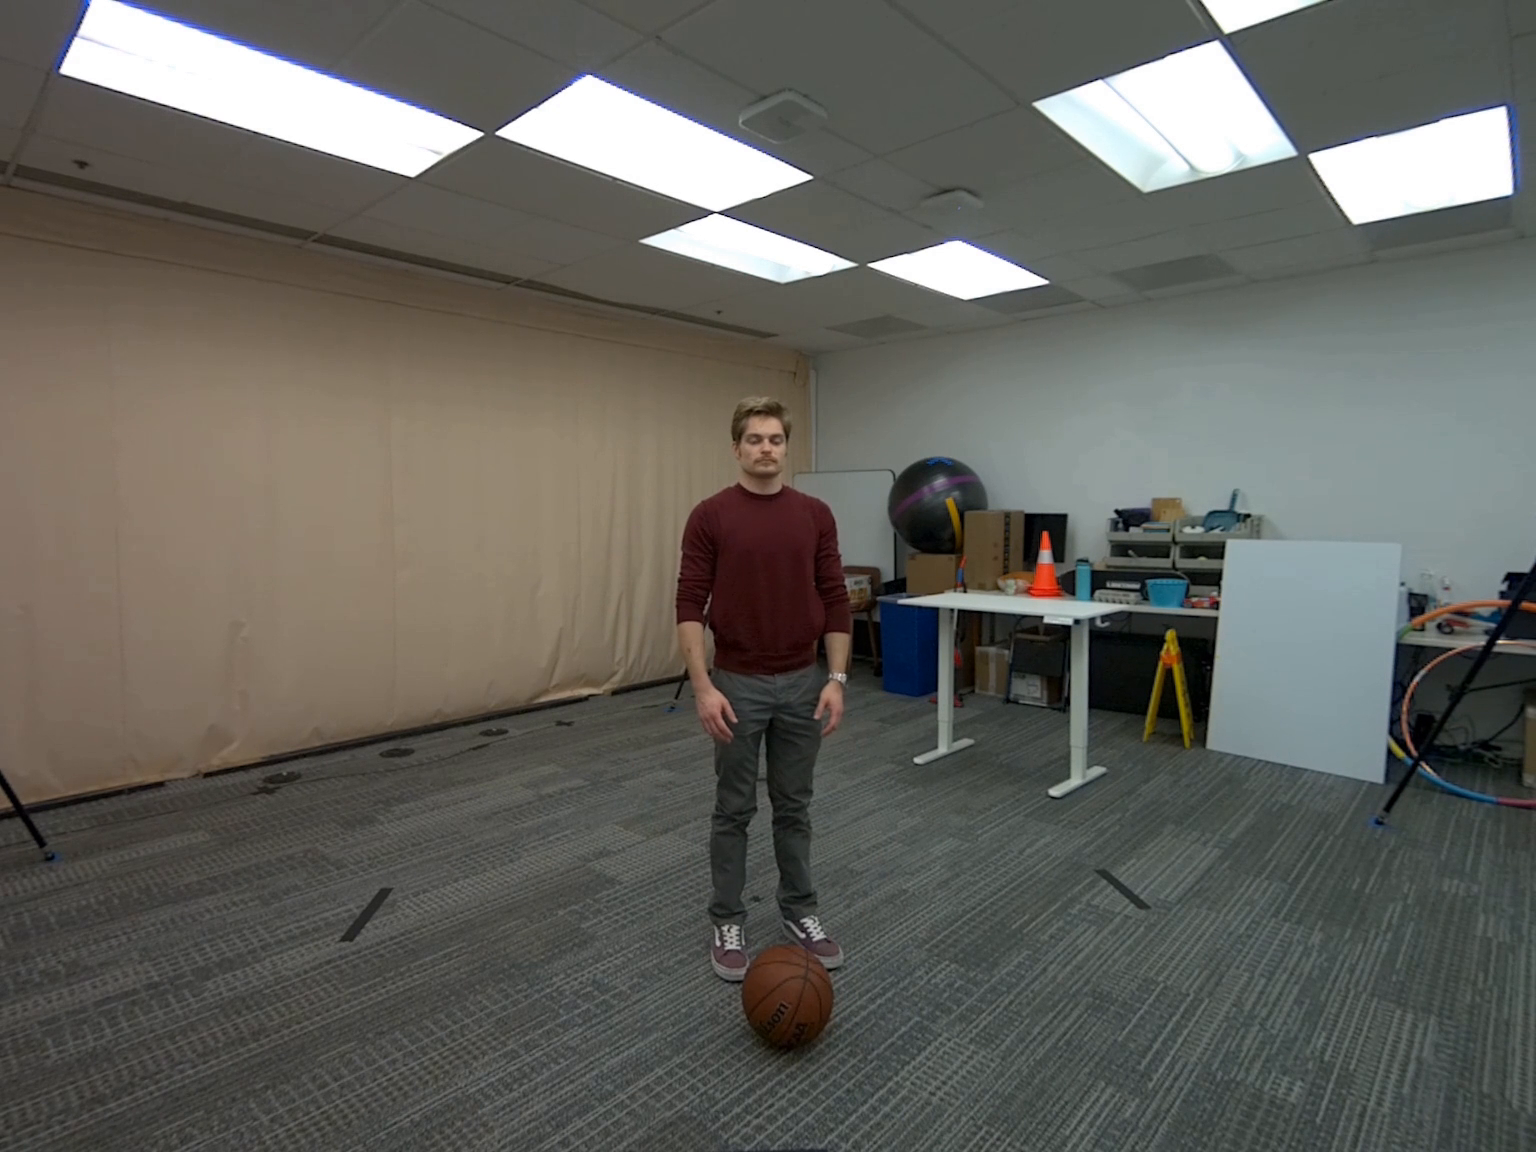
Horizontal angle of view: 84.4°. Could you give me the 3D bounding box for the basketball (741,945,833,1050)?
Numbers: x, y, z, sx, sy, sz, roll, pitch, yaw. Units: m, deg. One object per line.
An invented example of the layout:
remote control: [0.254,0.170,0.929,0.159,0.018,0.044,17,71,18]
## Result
basketball: [0.046,1.084,2.198,0.236,0.235,0.237,0,4,-2]
